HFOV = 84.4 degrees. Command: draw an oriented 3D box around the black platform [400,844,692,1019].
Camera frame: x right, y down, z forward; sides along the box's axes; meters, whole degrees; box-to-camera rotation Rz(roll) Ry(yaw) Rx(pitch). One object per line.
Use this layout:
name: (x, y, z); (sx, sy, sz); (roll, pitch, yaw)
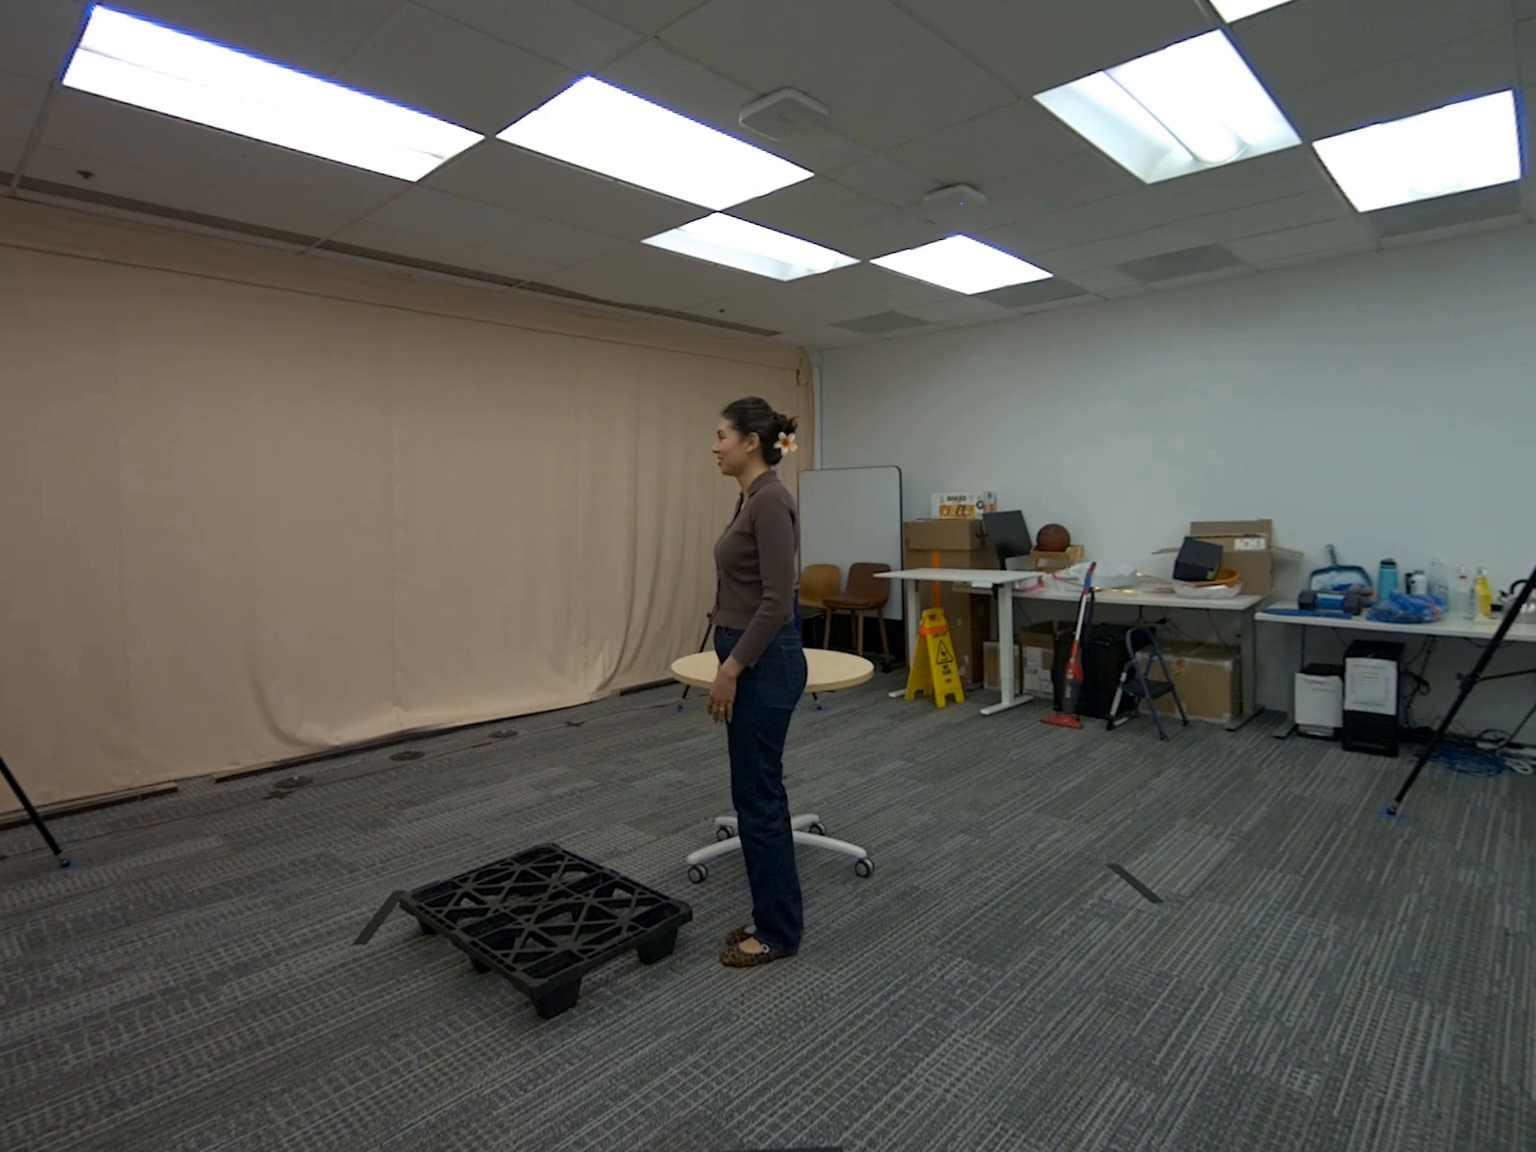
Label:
black platform: (-0.726, 1.115, 2.711); (0.832, 0.143, 0.587); (3, 6, 43)
